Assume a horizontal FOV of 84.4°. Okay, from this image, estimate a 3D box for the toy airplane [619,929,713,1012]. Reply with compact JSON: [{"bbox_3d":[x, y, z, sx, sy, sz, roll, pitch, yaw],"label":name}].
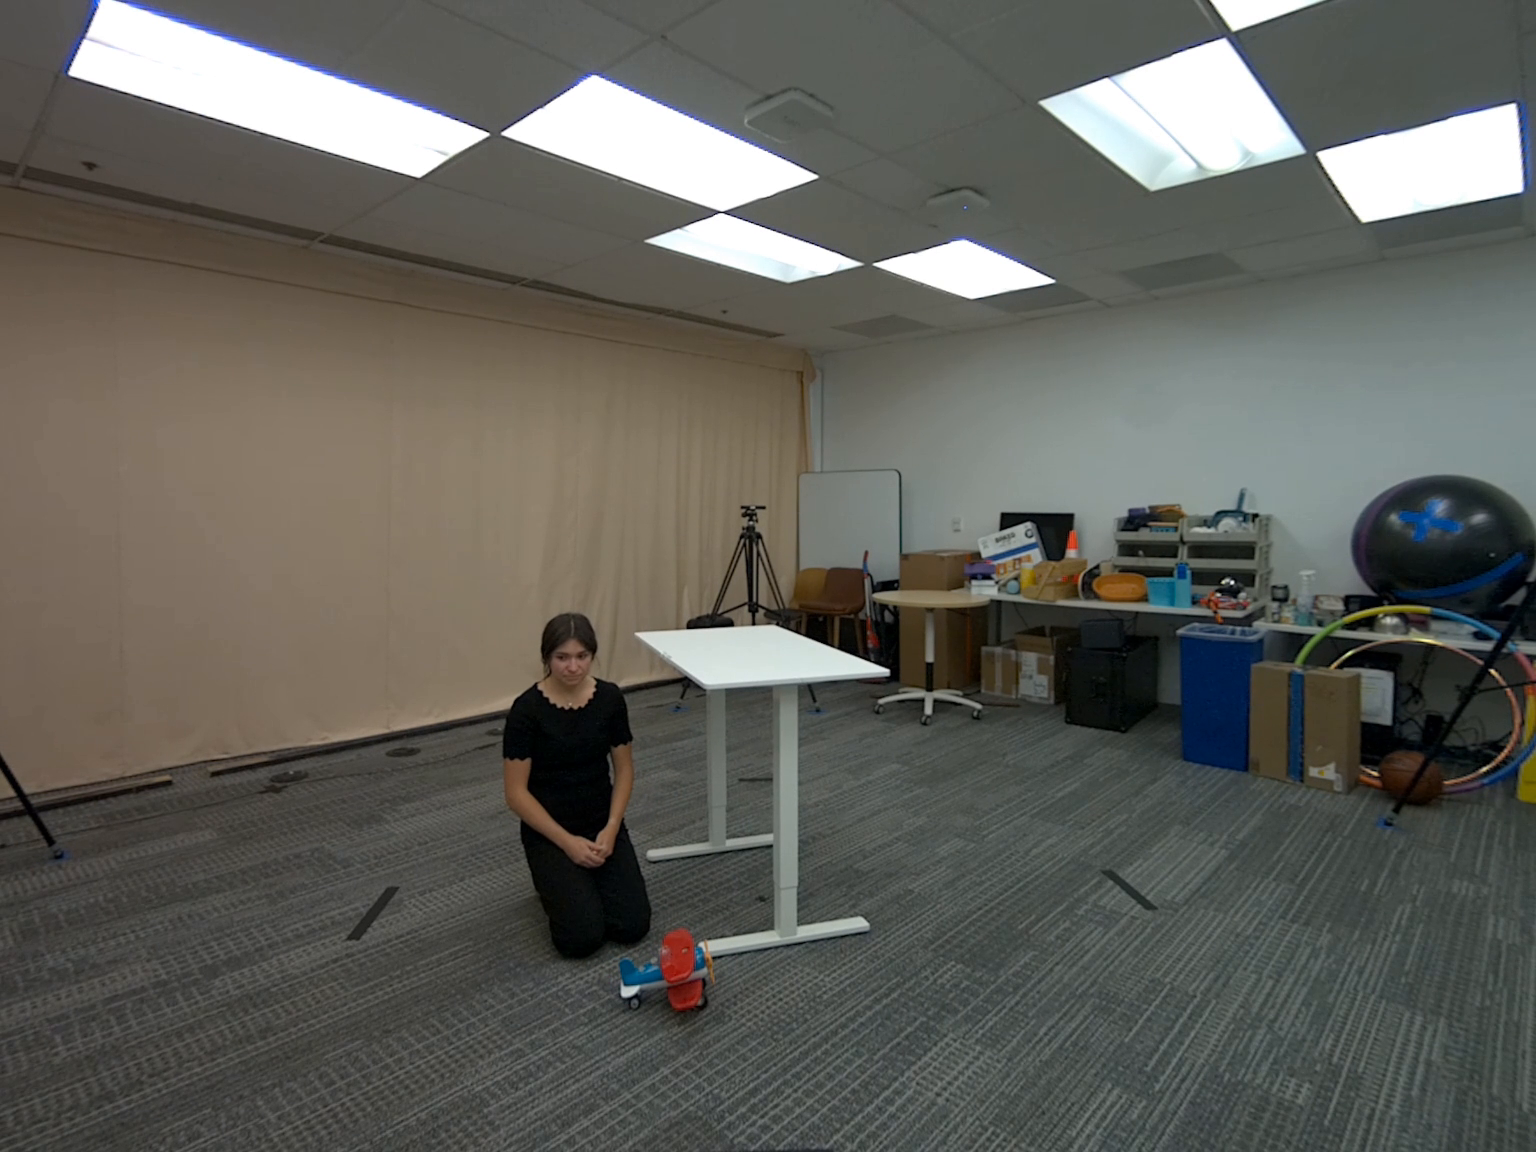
[{"bbox_3d":[-0.277,1.125,2.339,0.252,0.156,0.259,-2,4,-34],"label":"toy airplane"}]
